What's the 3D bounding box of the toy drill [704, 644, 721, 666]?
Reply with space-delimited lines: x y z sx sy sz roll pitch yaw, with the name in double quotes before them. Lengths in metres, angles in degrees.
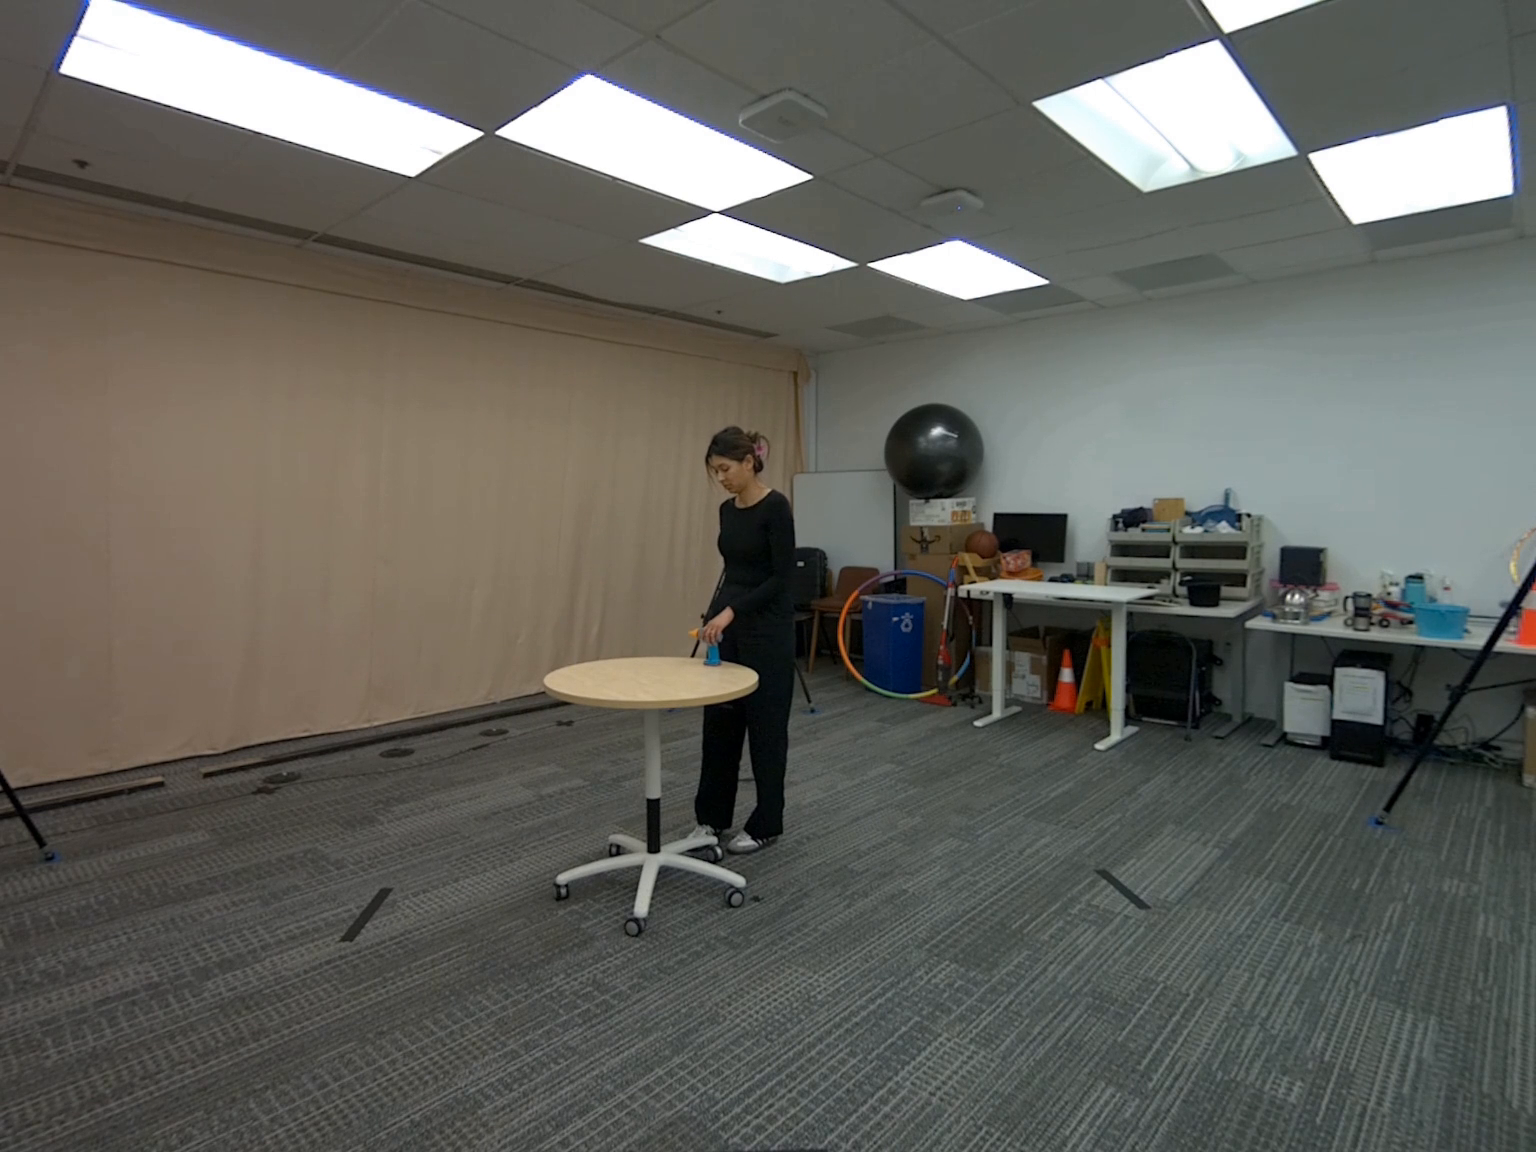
"toy drill" -0.248 0.267 3.254 0.175 0.146 0.059 1 2 34
